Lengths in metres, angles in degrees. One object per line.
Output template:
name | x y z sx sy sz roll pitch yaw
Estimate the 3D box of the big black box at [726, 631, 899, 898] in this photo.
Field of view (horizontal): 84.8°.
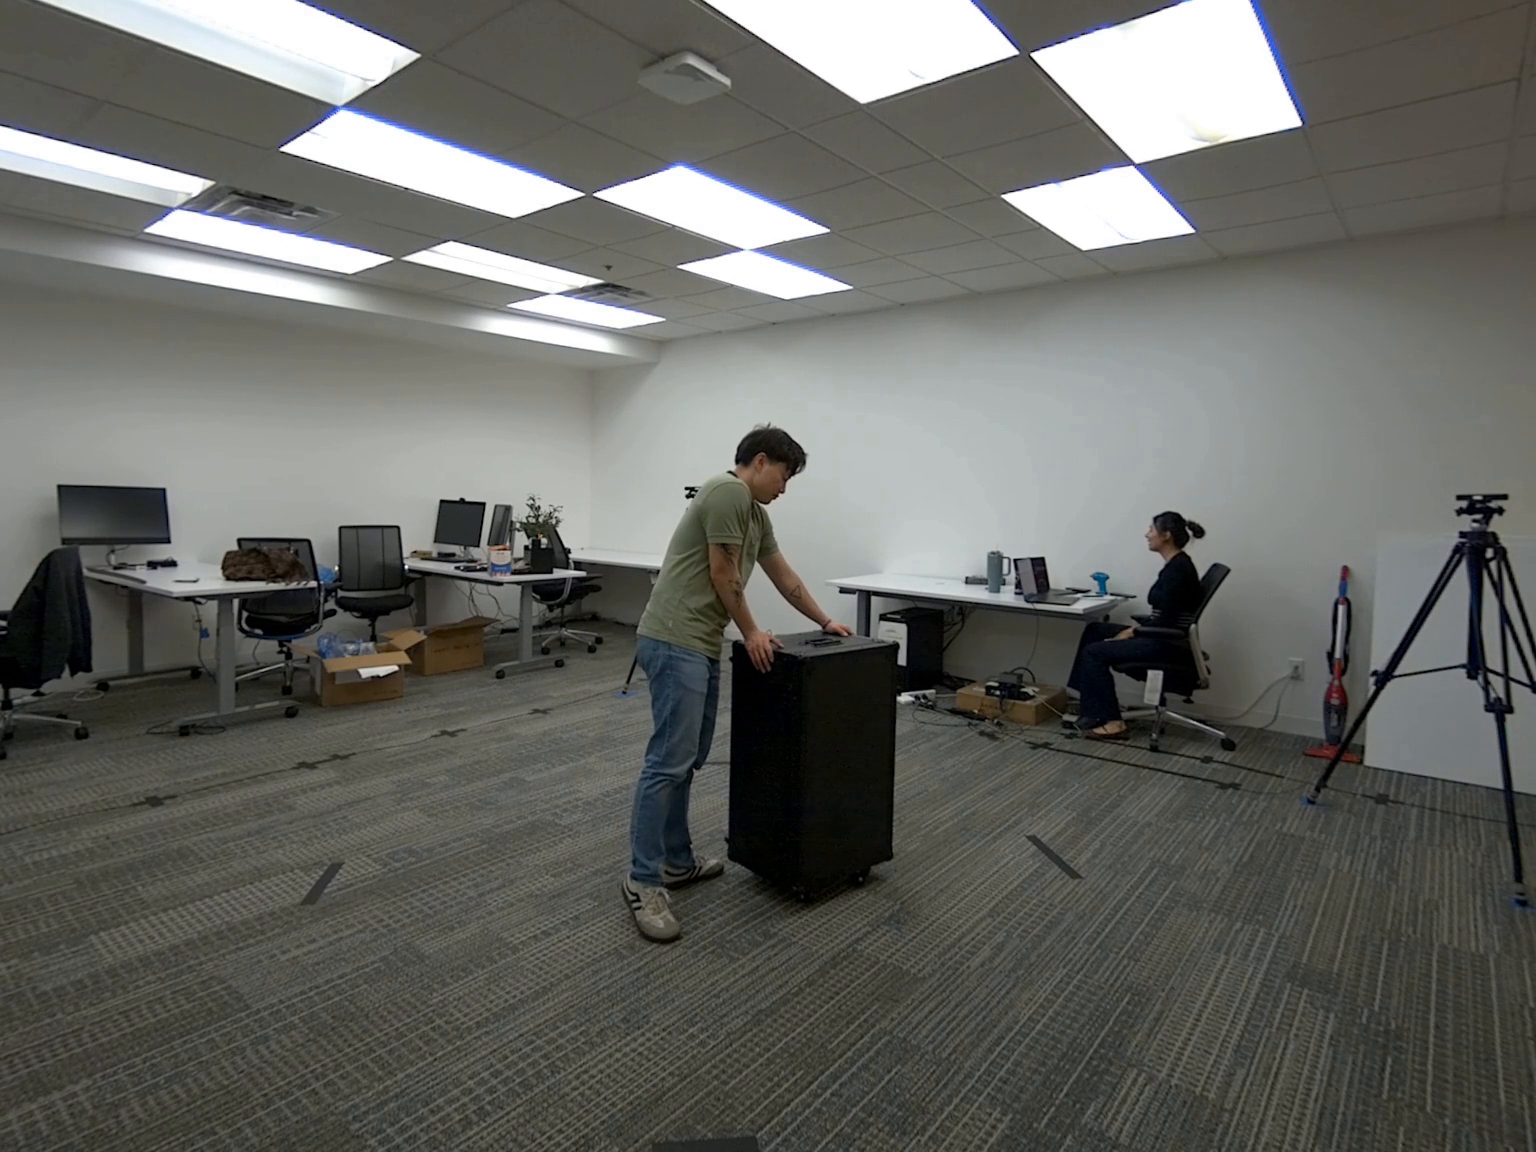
big black box | 0.147 0.654 3.026 0.505 0.859 0.410 -2 5 -40
